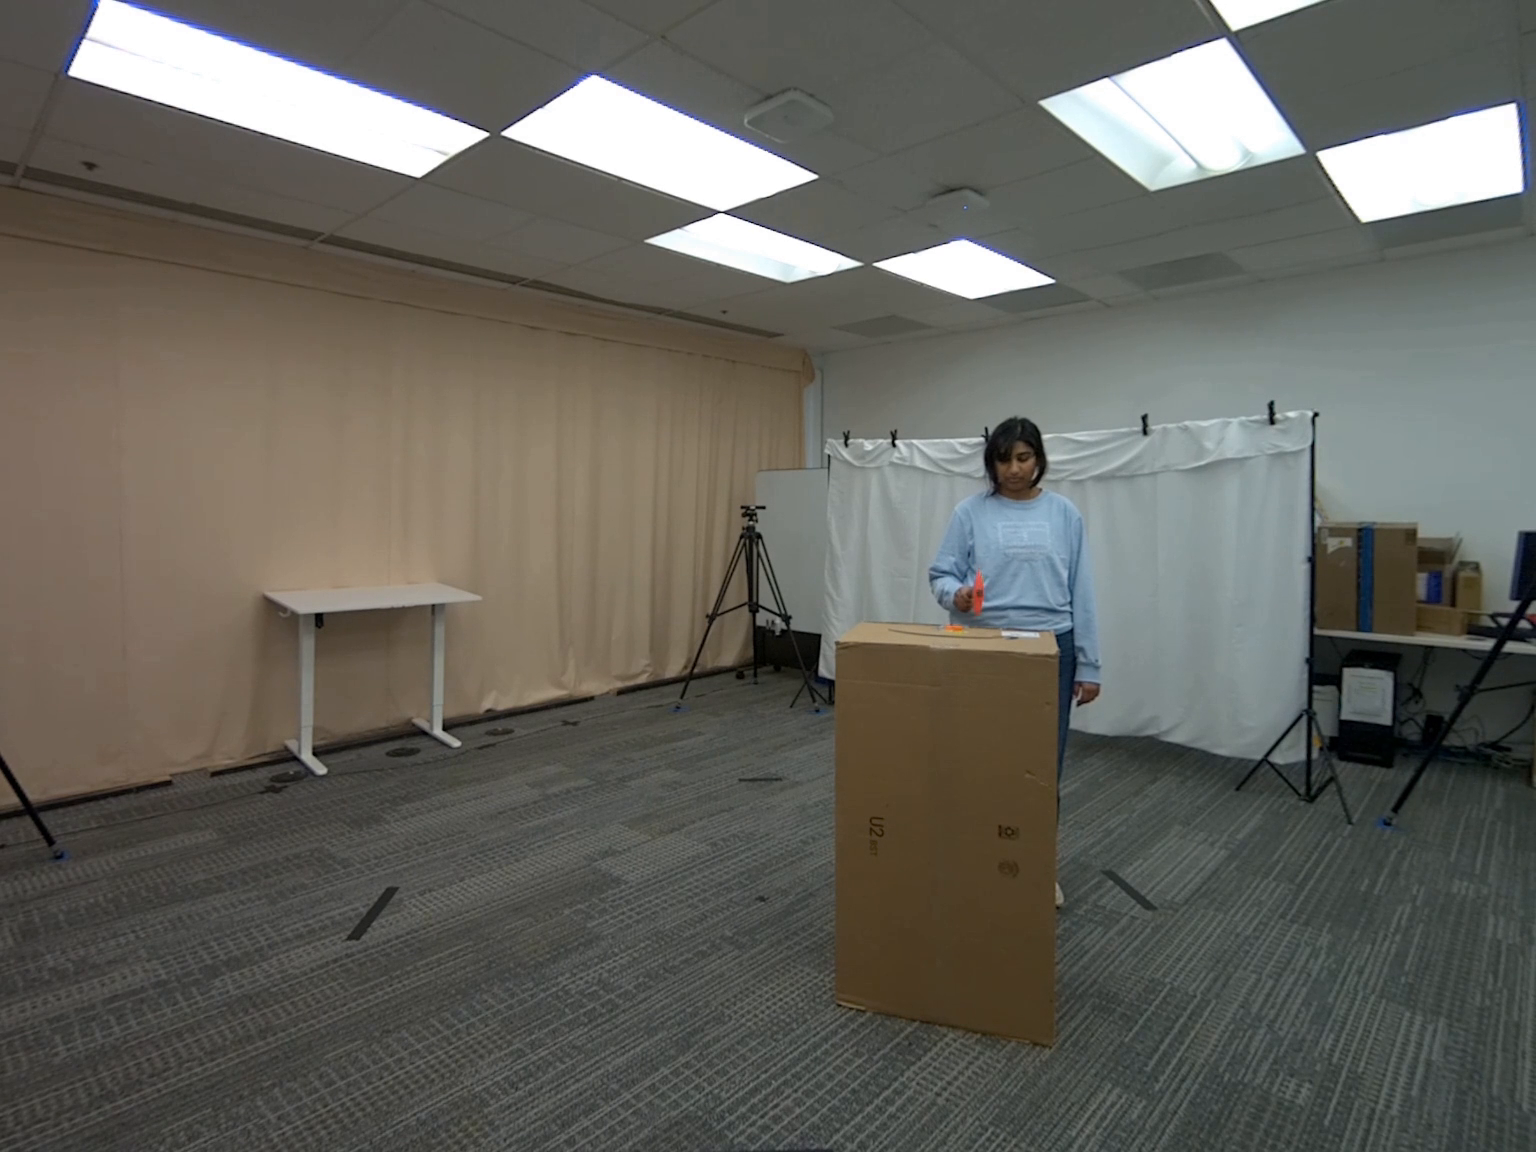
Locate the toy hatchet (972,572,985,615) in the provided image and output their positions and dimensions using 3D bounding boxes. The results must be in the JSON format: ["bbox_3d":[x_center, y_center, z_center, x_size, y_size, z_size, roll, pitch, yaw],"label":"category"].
[{"bbox_3d":[0.657,0.082,2.664,0.029,0.132,0.266,1,-21,0],"label":"toy hatchet"}]
